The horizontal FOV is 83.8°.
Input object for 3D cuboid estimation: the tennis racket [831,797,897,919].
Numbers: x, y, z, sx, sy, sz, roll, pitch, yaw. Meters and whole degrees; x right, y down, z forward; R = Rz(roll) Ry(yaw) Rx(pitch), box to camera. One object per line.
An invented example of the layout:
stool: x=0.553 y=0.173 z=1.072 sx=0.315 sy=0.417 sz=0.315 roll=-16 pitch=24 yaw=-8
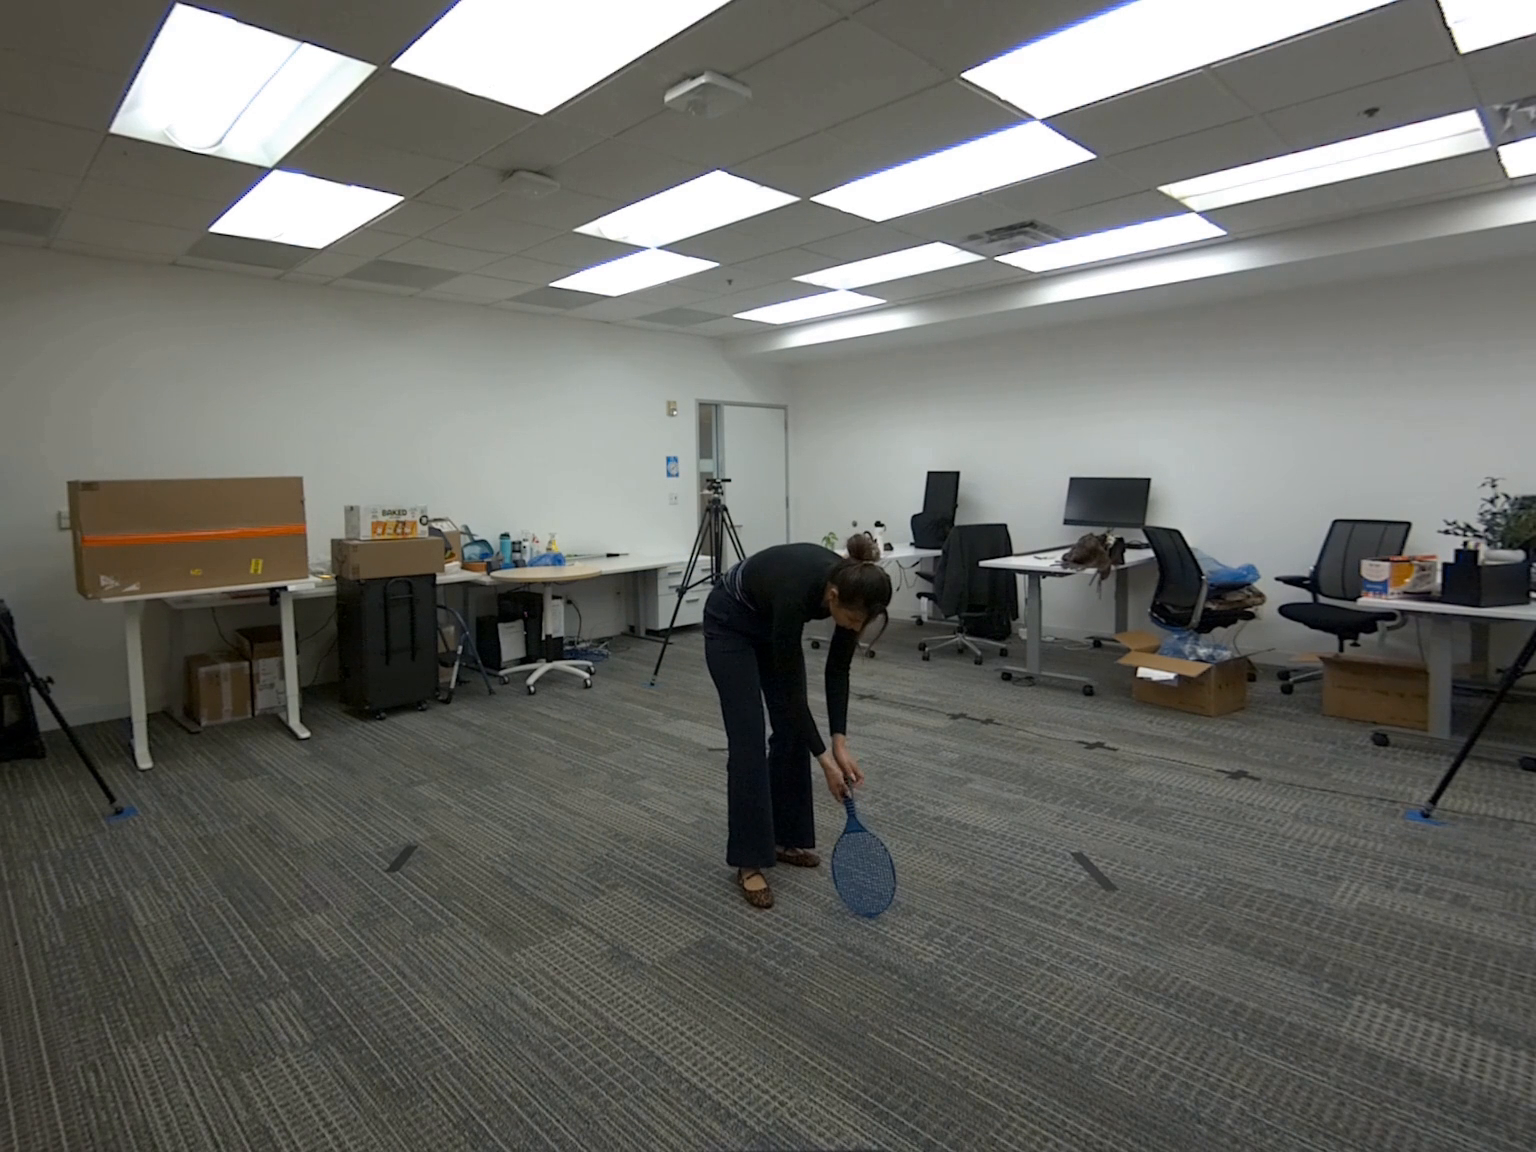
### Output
tennis racket: x=0.289 y=0.872 z=2.761 sx=0.216 sy=0.440 sz=0.031 roll=-19 pitch=-16 yaw=22
